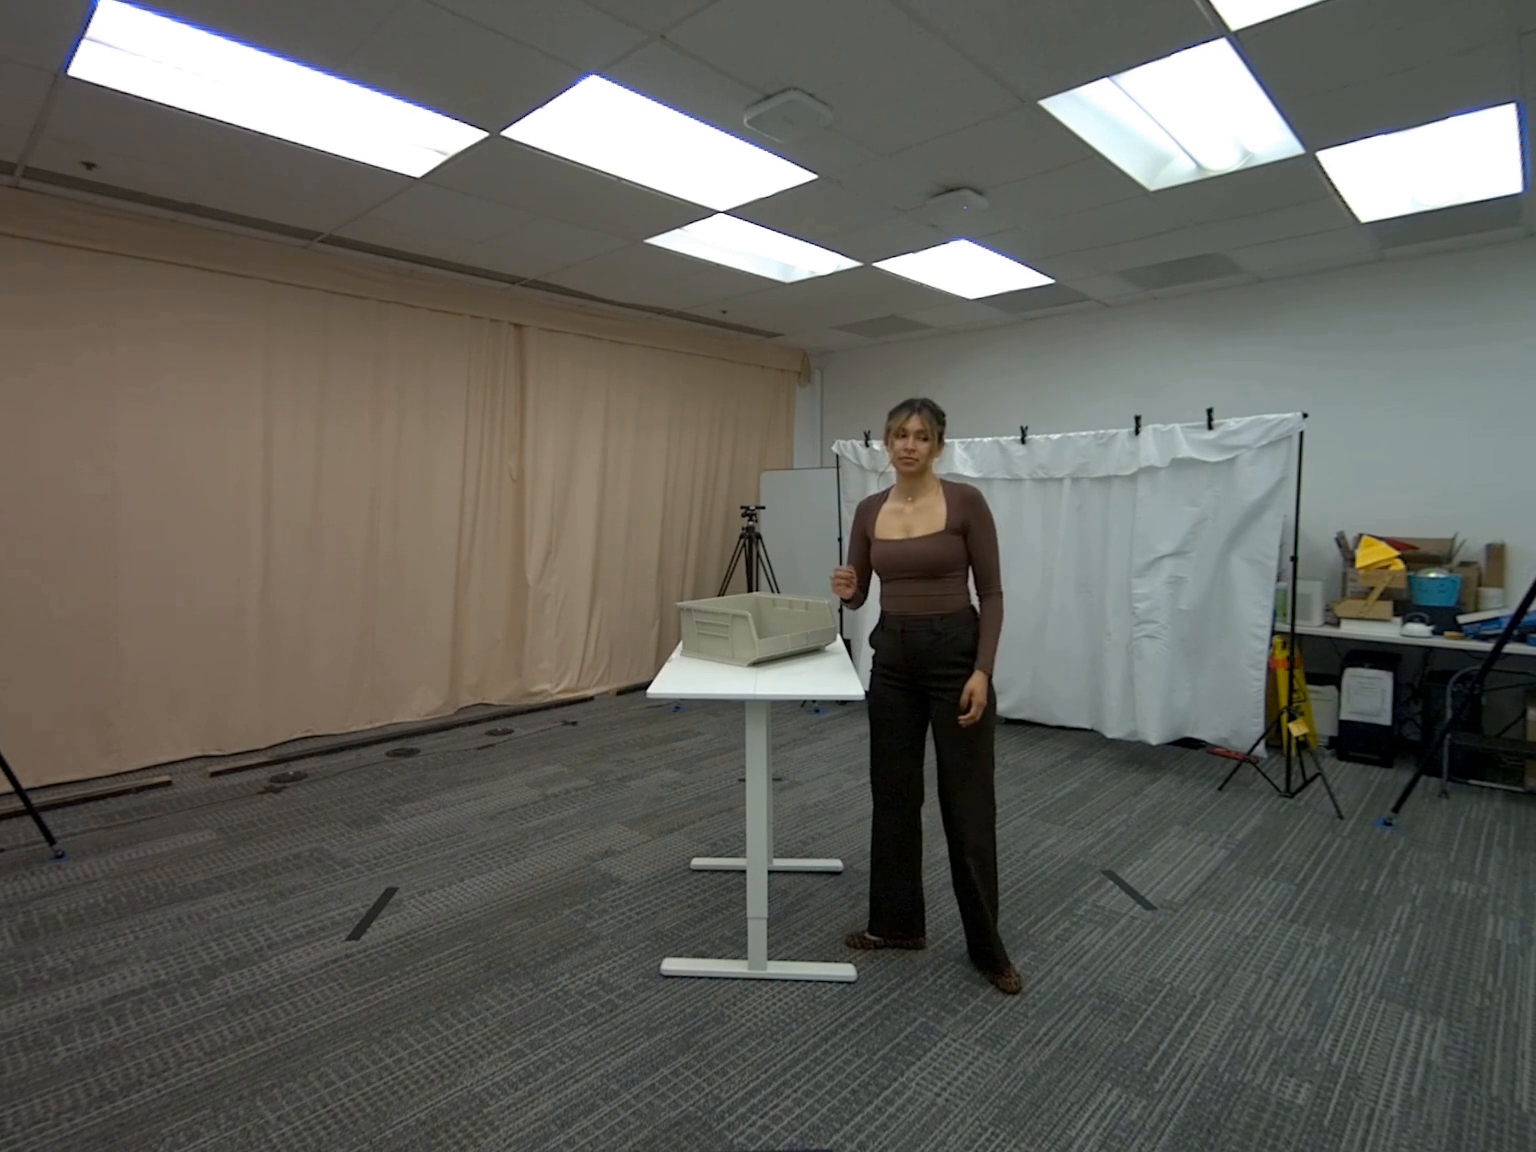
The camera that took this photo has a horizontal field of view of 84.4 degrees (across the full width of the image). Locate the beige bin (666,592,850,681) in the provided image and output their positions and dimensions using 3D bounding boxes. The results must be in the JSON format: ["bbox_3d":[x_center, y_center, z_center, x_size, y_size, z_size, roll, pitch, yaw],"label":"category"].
[{"bbox_3d":[-0.032,0.180,2.893,0.390,0.188,0.410,2,6,43],"label":"beige bin"}]
